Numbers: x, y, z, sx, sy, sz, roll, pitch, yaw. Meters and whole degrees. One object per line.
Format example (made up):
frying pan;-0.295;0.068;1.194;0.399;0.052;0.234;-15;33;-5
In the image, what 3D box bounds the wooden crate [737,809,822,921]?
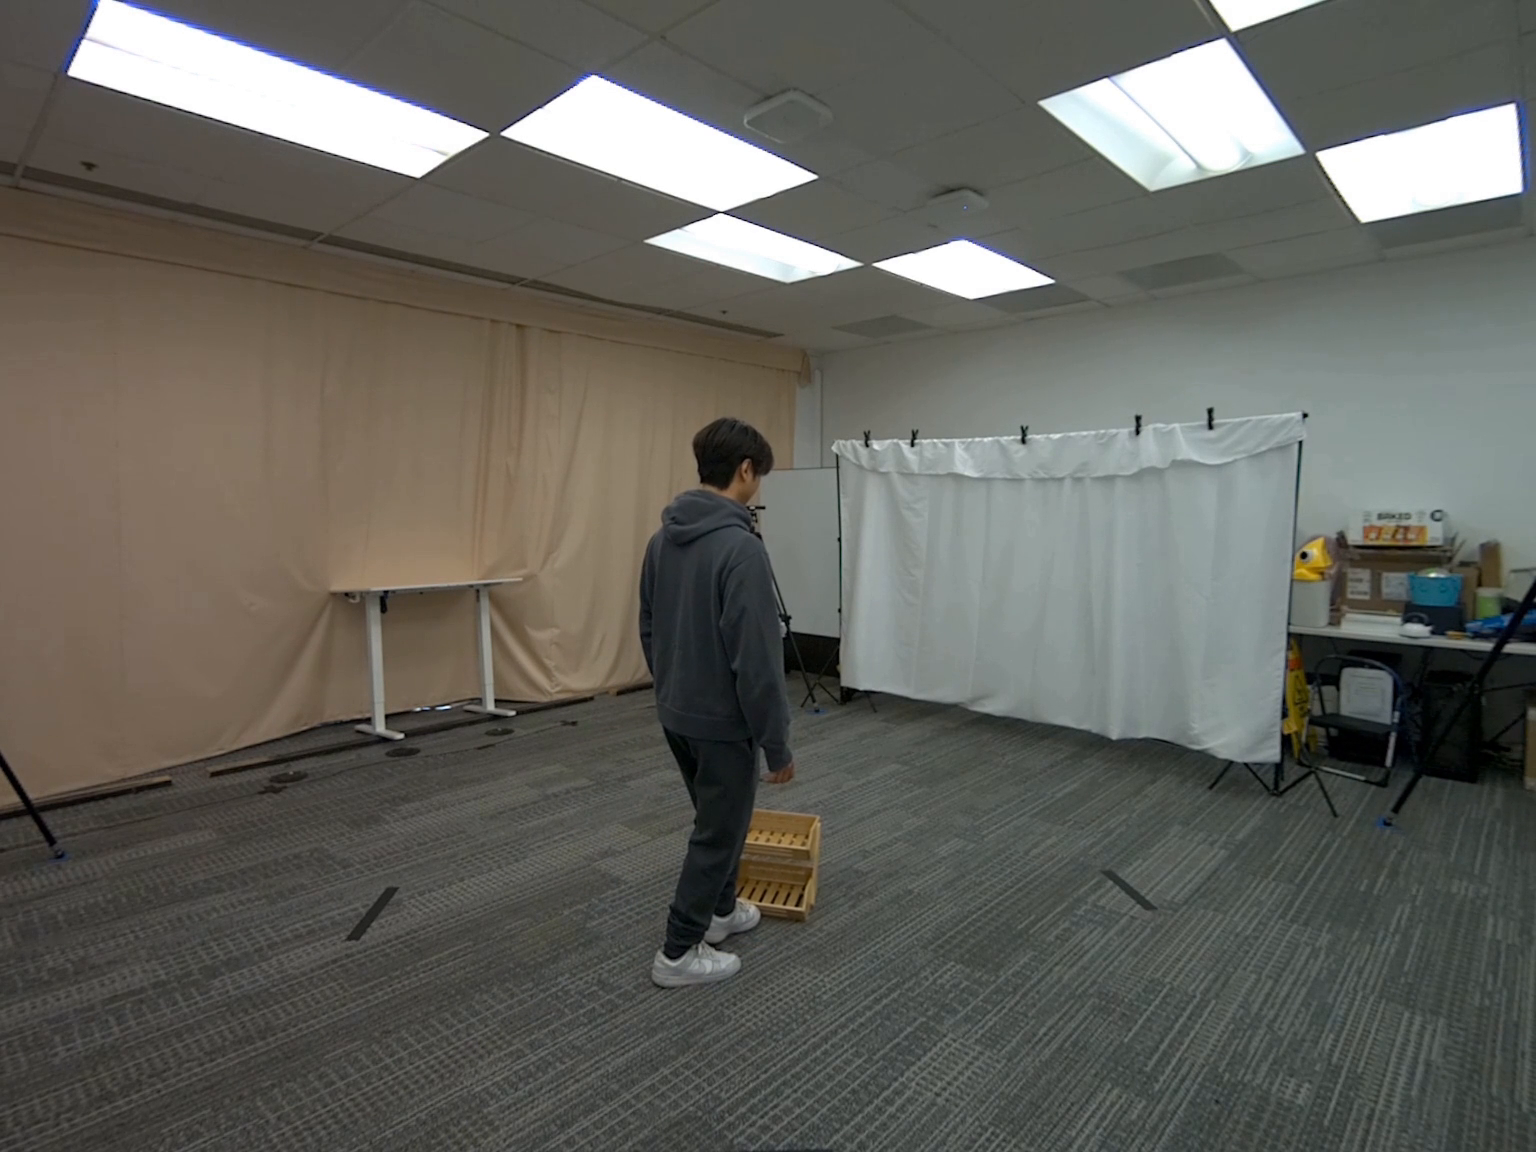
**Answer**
wooden crate;0.016;1.012;2.975;0.330;0.273;0.298;1;4;15
